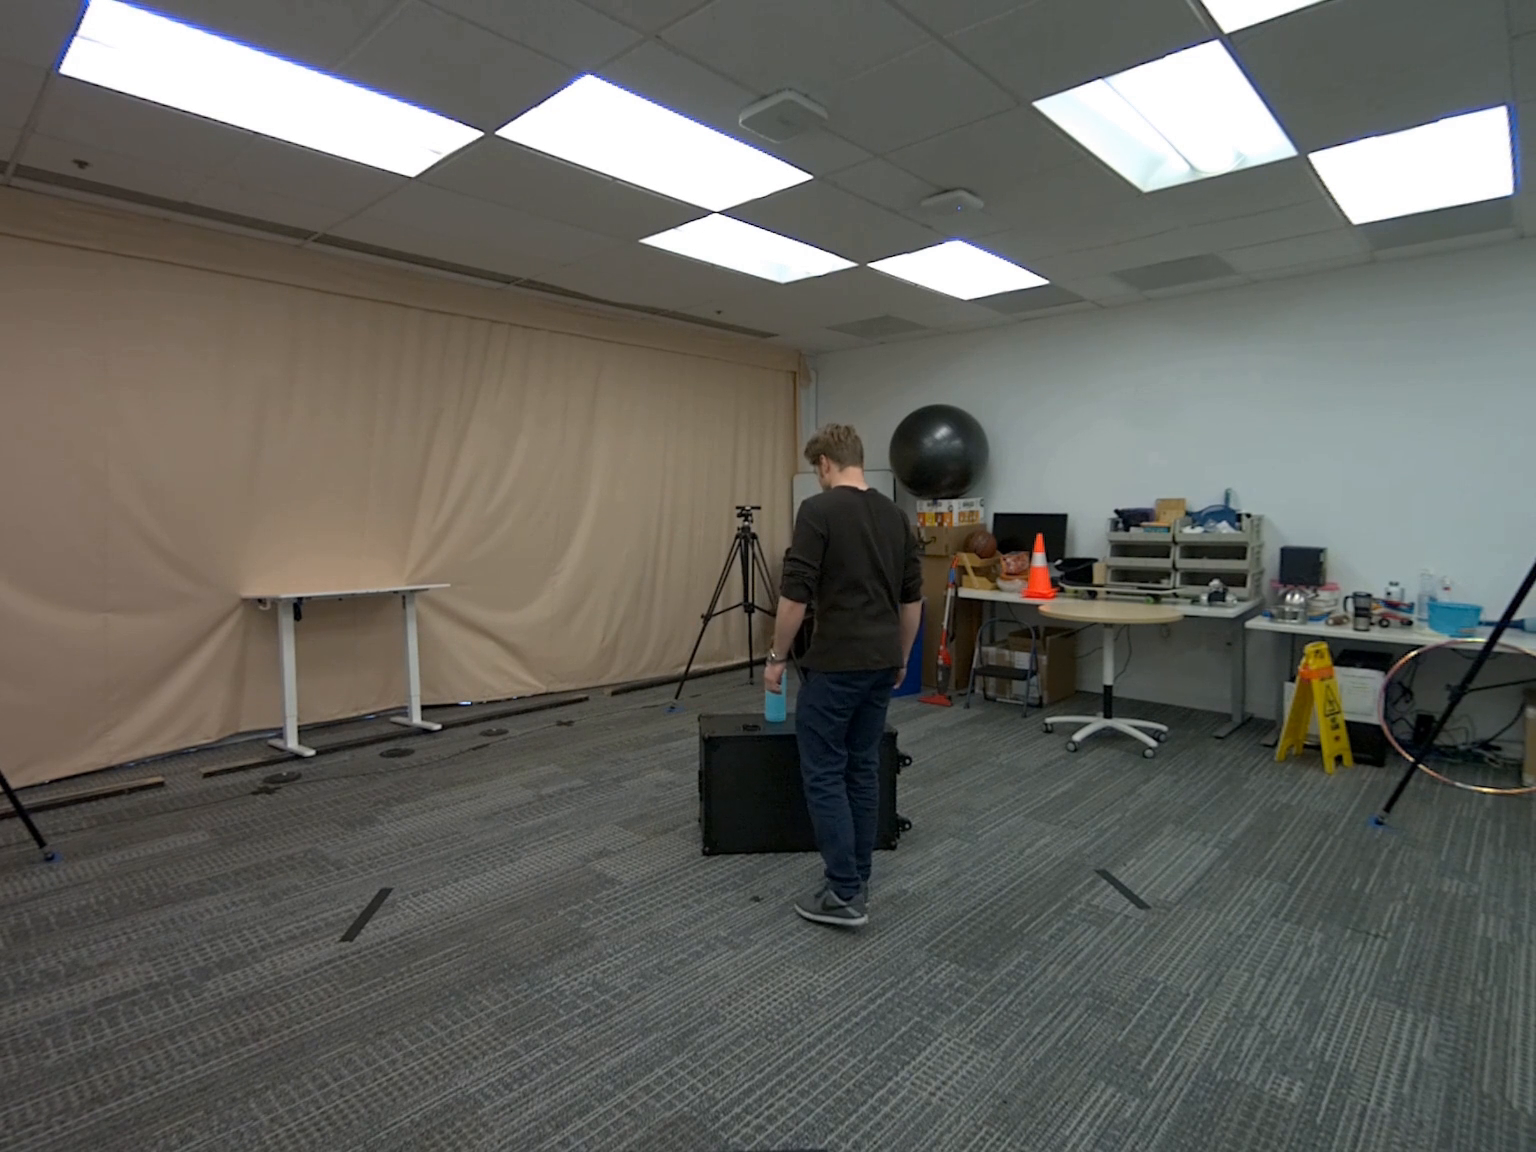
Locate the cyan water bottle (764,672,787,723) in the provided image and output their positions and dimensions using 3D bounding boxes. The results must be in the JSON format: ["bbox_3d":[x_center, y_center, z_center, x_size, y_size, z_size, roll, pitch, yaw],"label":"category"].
[{"bbox_3d":[0.033,0.470,3.596,0.092,0.283,0.092,-1,1,-2],"label":"cyan water bottle"}]
